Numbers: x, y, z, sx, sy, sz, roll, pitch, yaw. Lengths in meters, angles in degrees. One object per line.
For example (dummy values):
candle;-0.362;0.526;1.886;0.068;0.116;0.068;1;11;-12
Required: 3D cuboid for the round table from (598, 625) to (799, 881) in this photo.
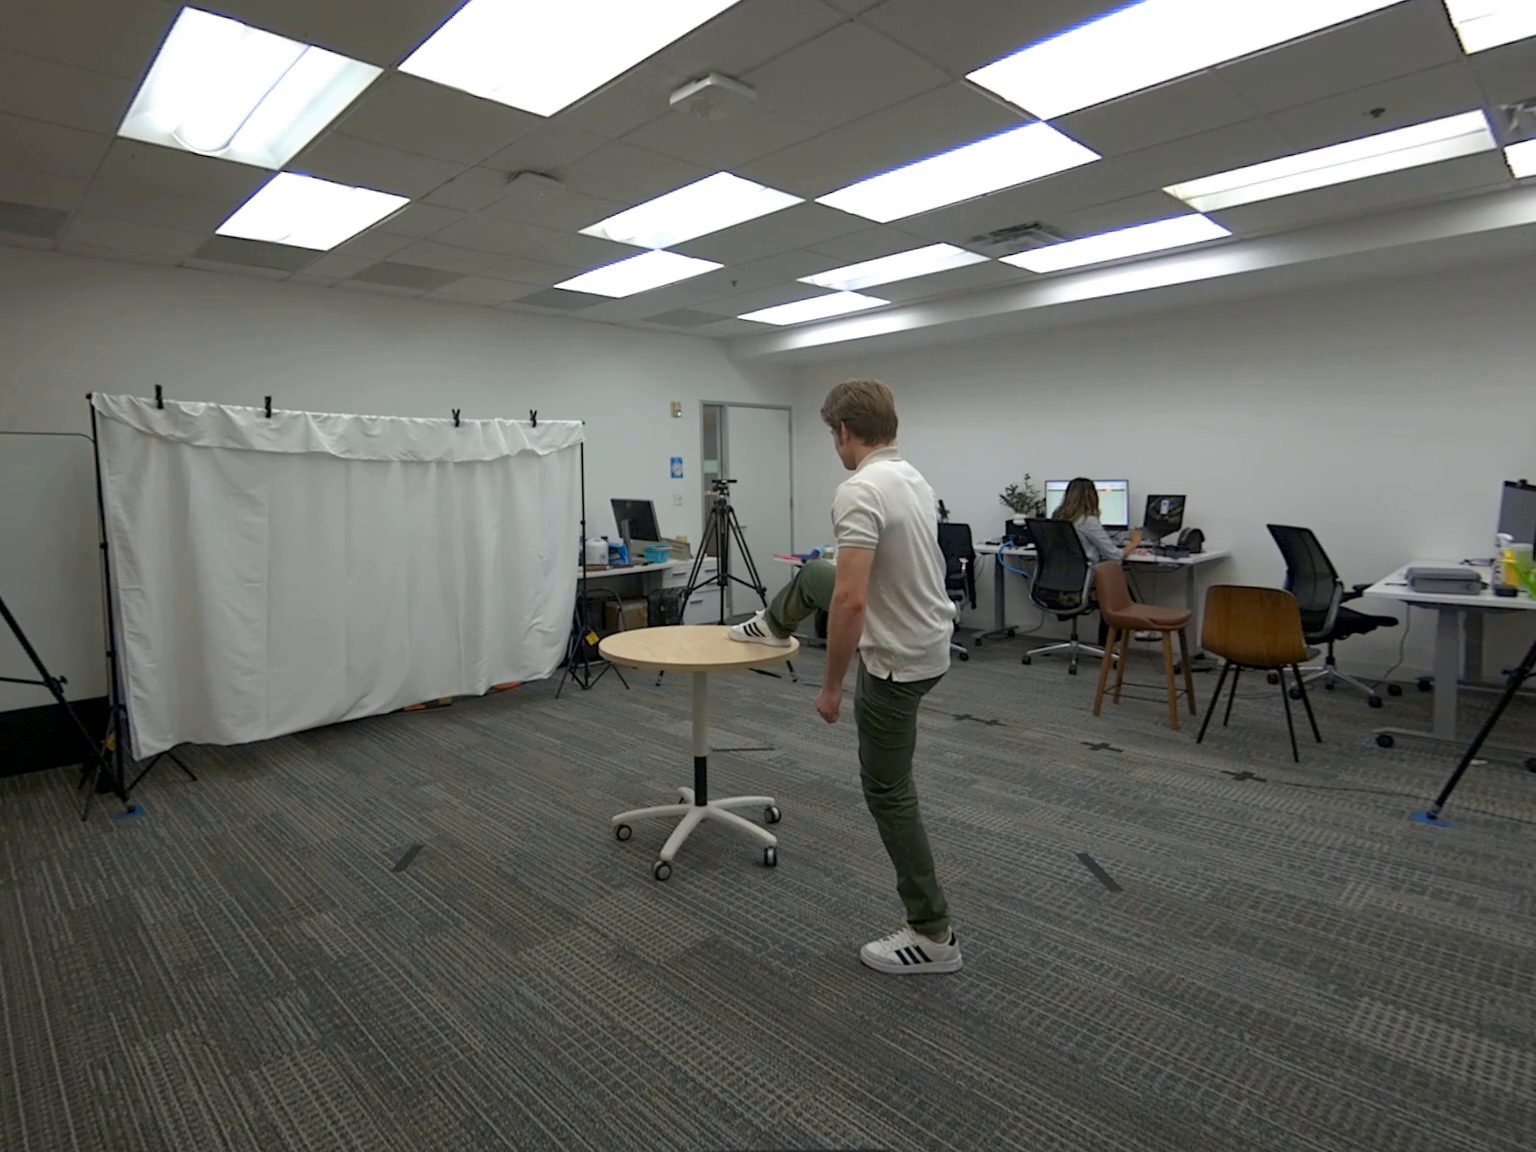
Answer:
round table;-0.260;0.643;3.305;0.763;0.791;0.768;-1;5;-2
